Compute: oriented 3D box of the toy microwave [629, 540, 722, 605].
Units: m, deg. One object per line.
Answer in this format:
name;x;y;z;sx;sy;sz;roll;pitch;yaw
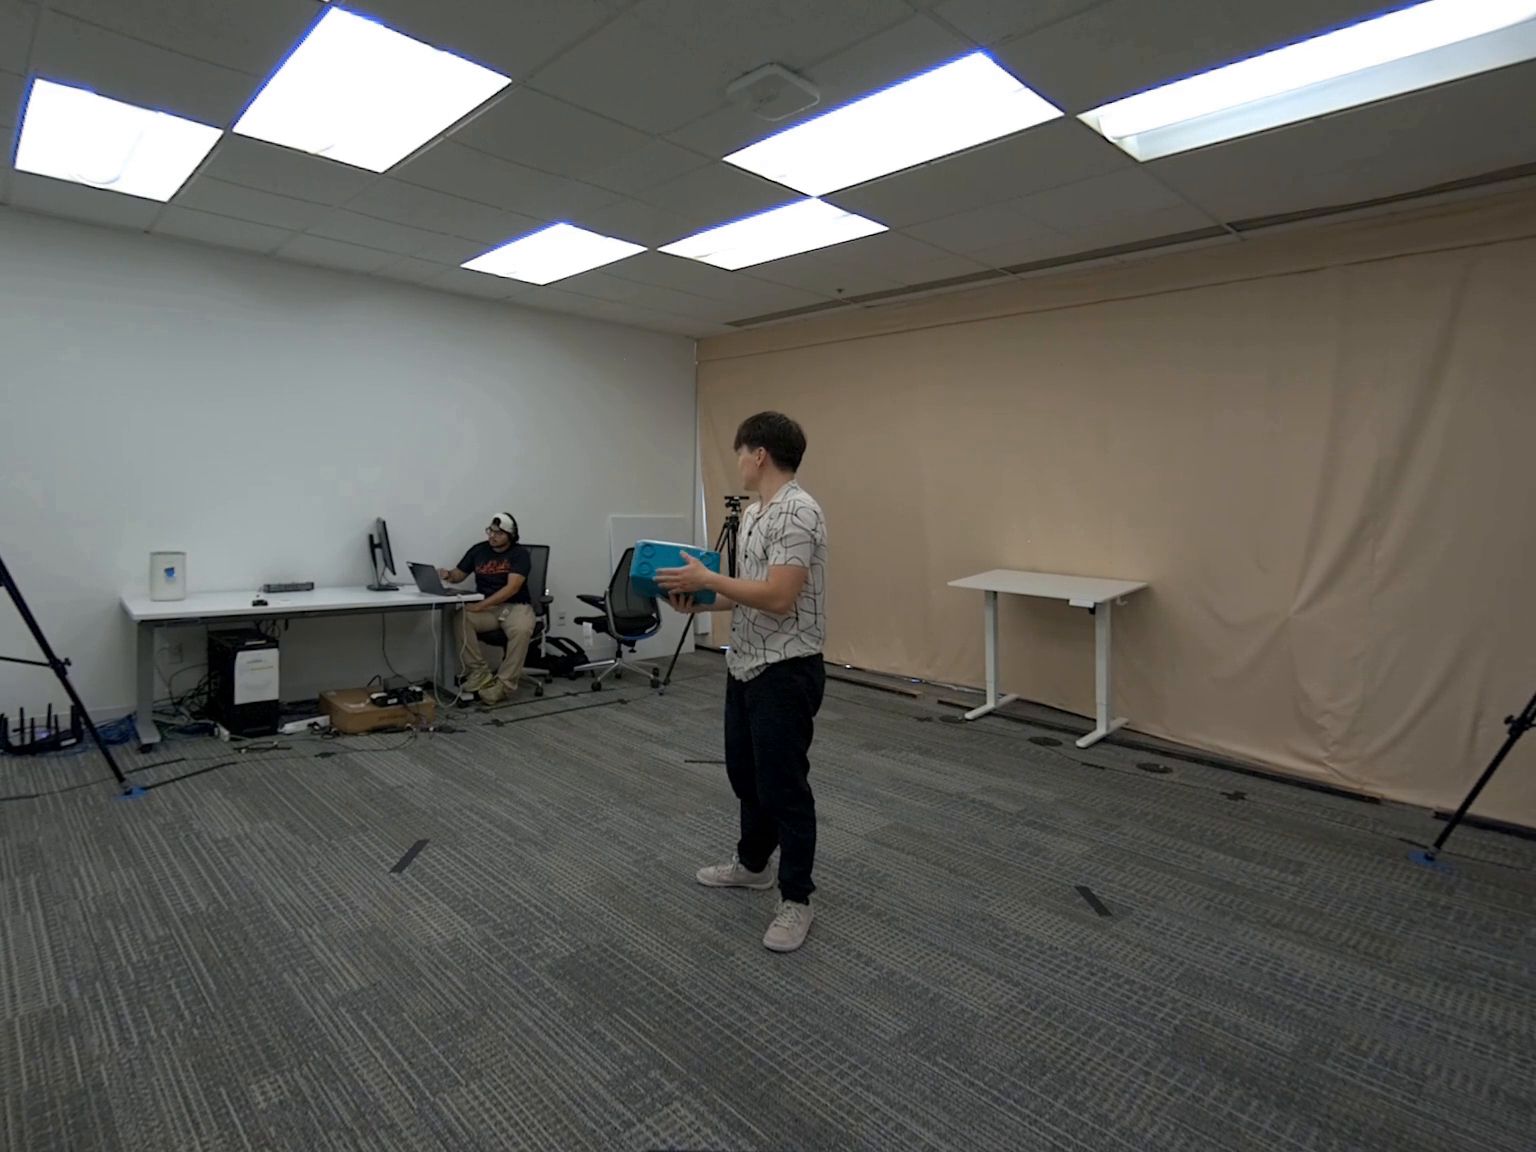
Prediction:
toy microwave;-0.301;-0.017;2.731;0.286;0.154;0.182;8;-21;-2
